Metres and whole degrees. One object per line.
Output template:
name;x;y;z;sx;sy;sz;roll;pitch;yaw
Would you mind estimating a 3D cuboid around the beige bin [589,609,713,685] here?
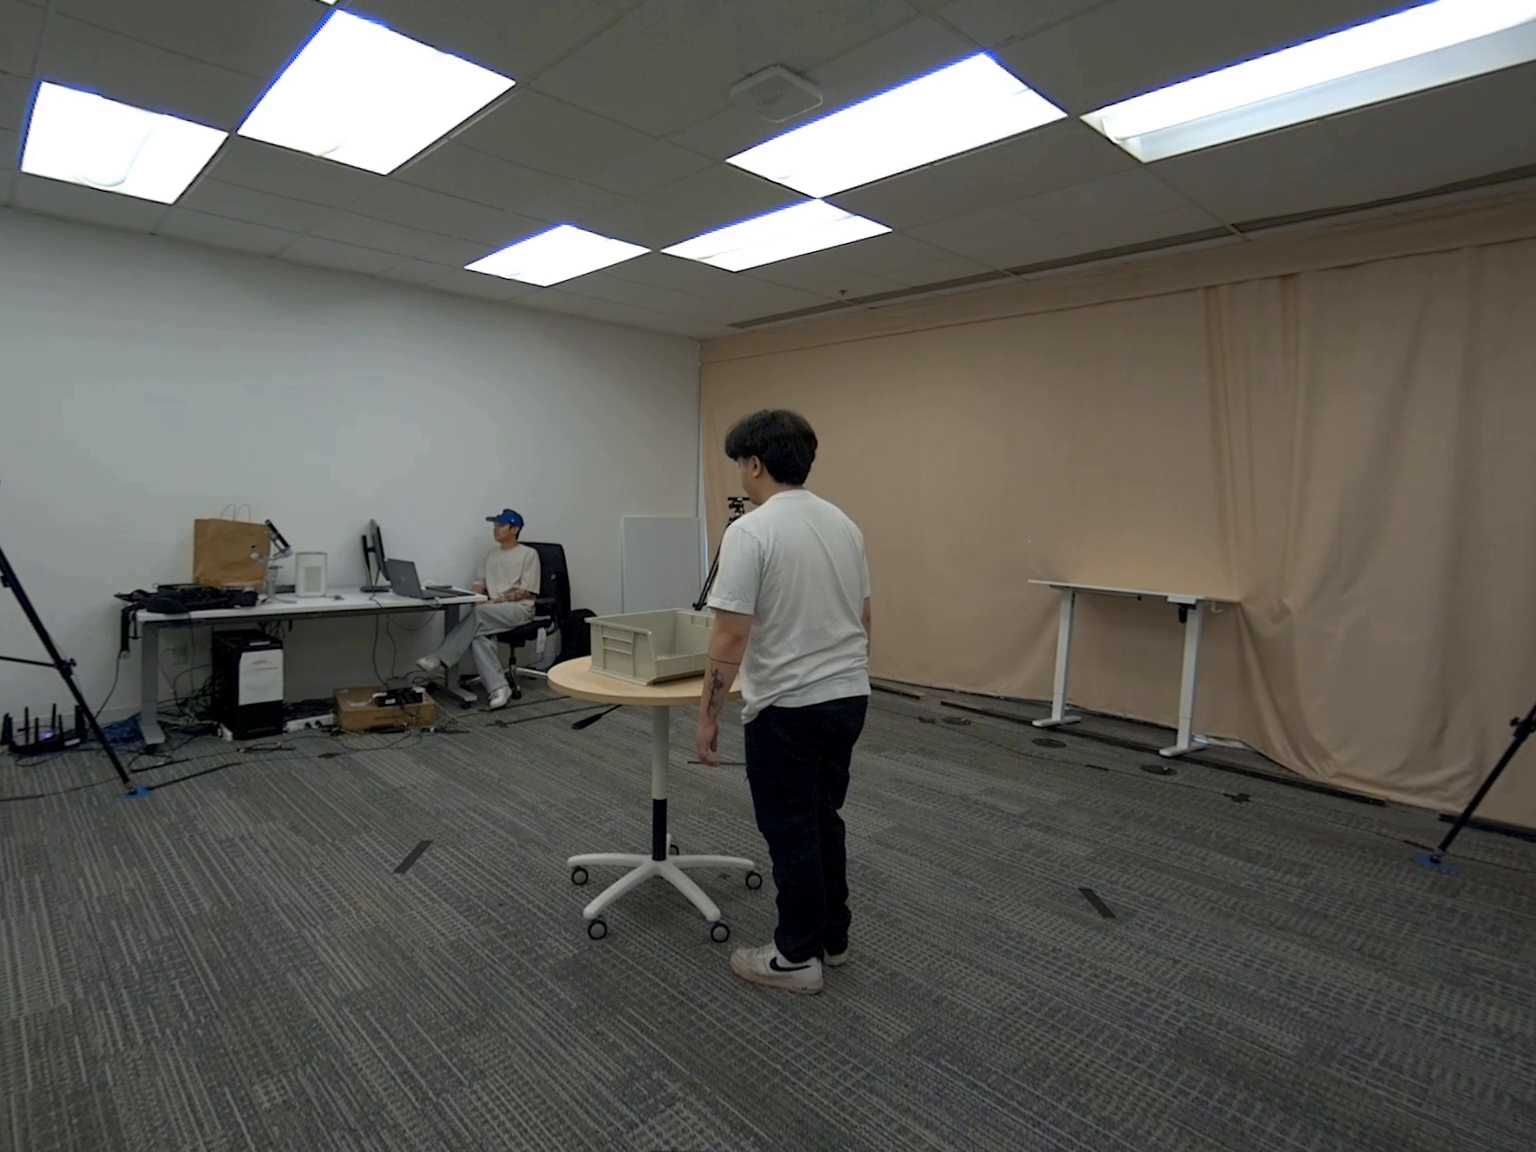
beige bin;-0.340;0.240;2.874;0.387;0.188;0.413;4;6;43
